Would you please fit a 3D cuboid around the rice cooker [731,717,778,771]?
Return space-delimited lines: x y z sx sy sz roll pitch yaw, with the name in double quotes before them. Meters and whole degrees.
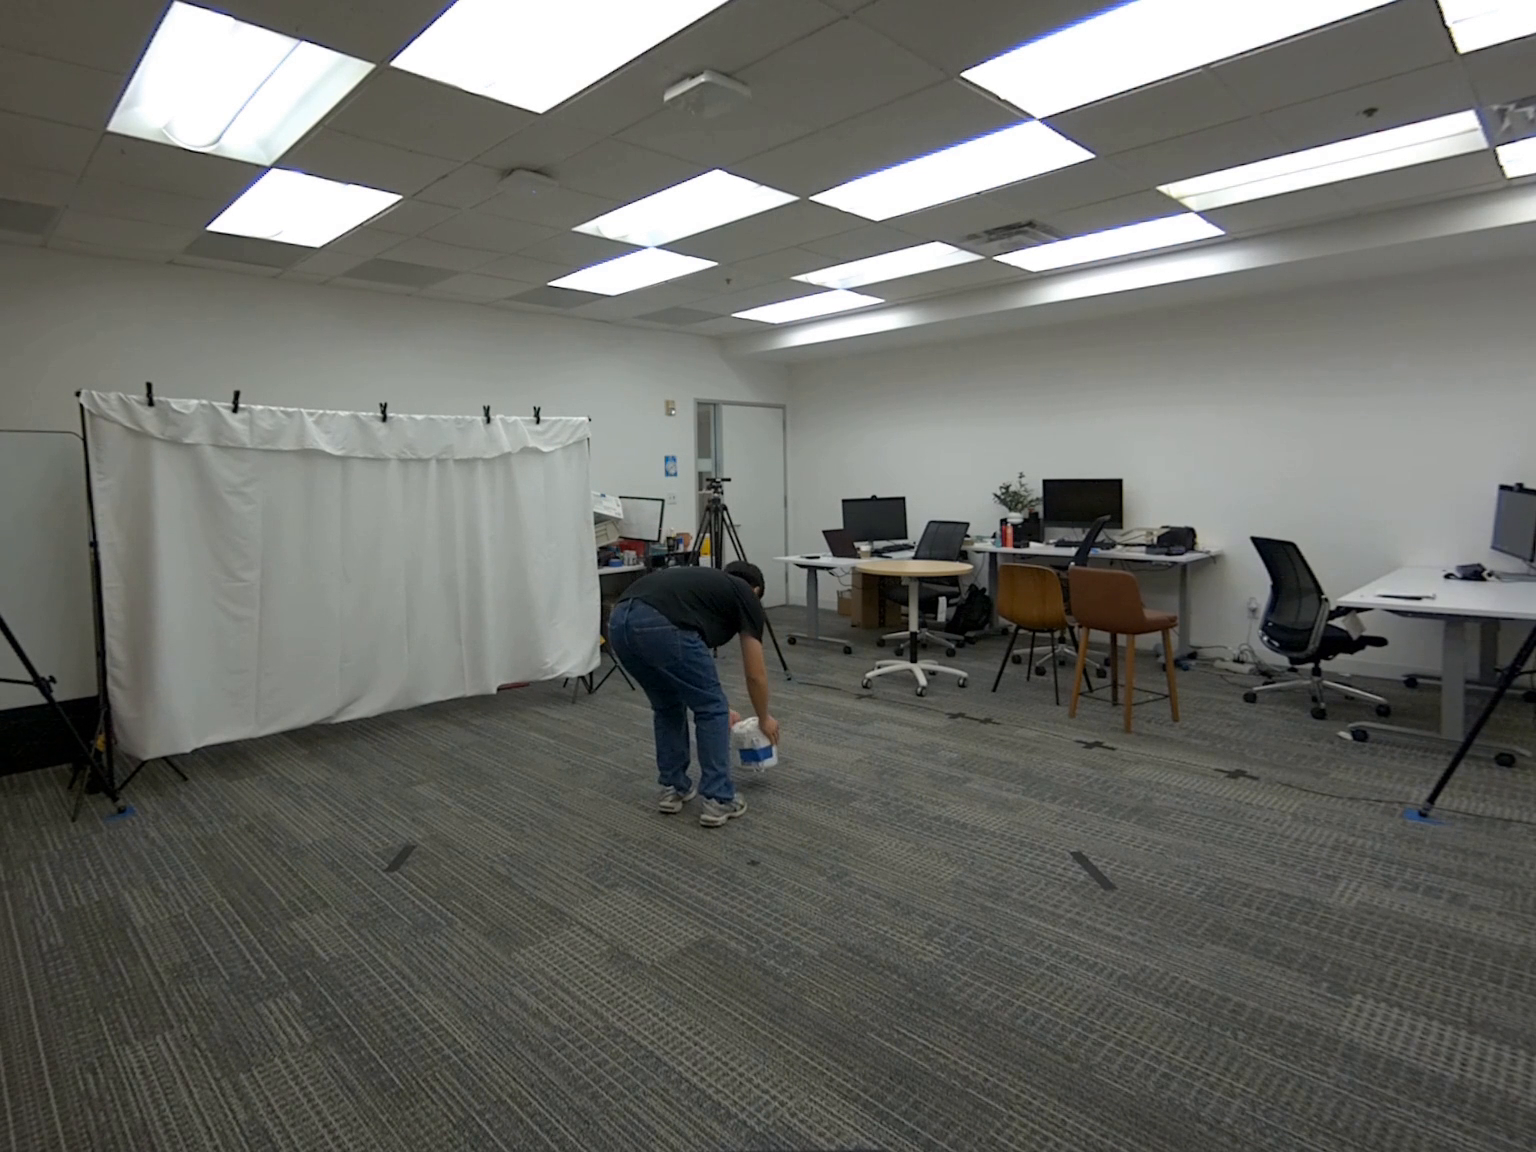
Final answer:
"rice cooker" -0.073 0.761 3.904 0.223 0.233 0.214 -4 -3 36
